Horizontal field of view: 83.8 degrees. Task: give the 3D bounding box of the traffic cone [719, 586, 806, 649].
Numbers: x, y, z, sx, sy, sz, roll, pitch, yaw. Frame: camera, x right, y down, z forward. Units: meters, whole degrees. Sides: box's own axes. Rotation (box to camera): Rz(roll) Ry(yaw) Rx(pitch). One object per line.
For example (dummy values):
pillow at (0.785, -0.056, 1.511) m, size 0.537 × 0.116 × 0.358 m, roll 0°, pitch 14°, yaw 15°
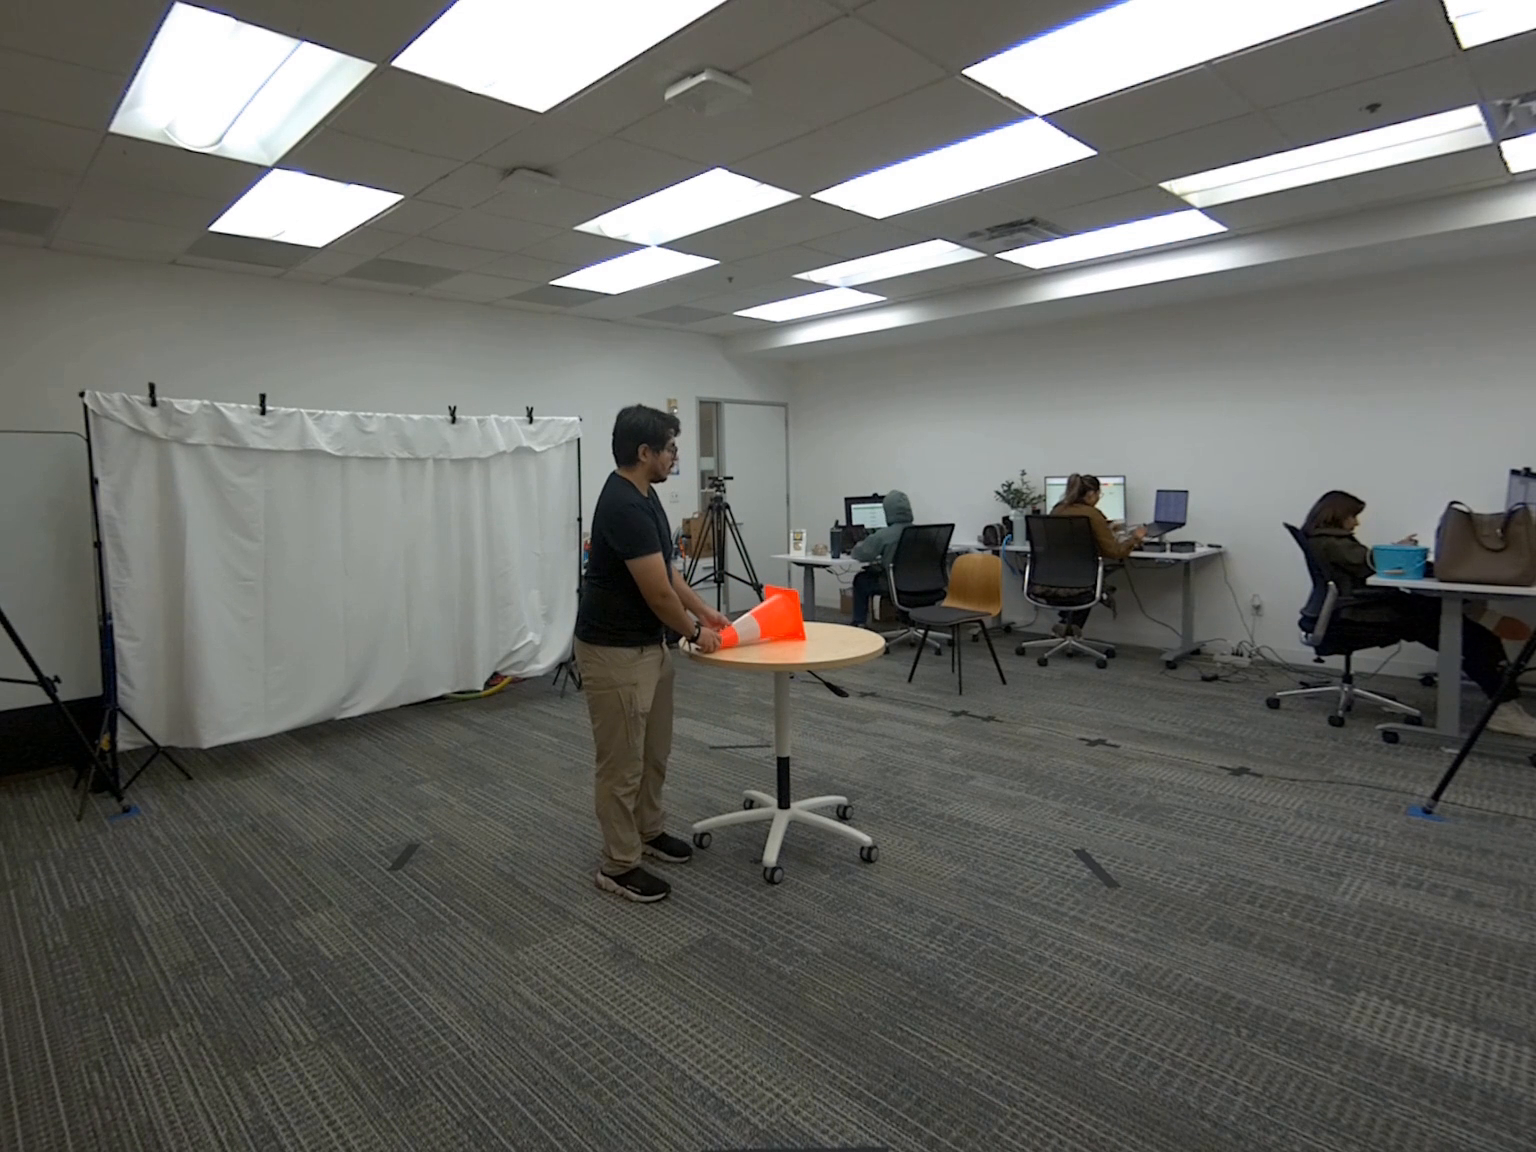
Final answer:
traffic cone at (-0.074, 0.201, 3.124) m, size 0.377 × 0.201 × 0.211 m, roll -21°, pitch 16°, yaw -34°
